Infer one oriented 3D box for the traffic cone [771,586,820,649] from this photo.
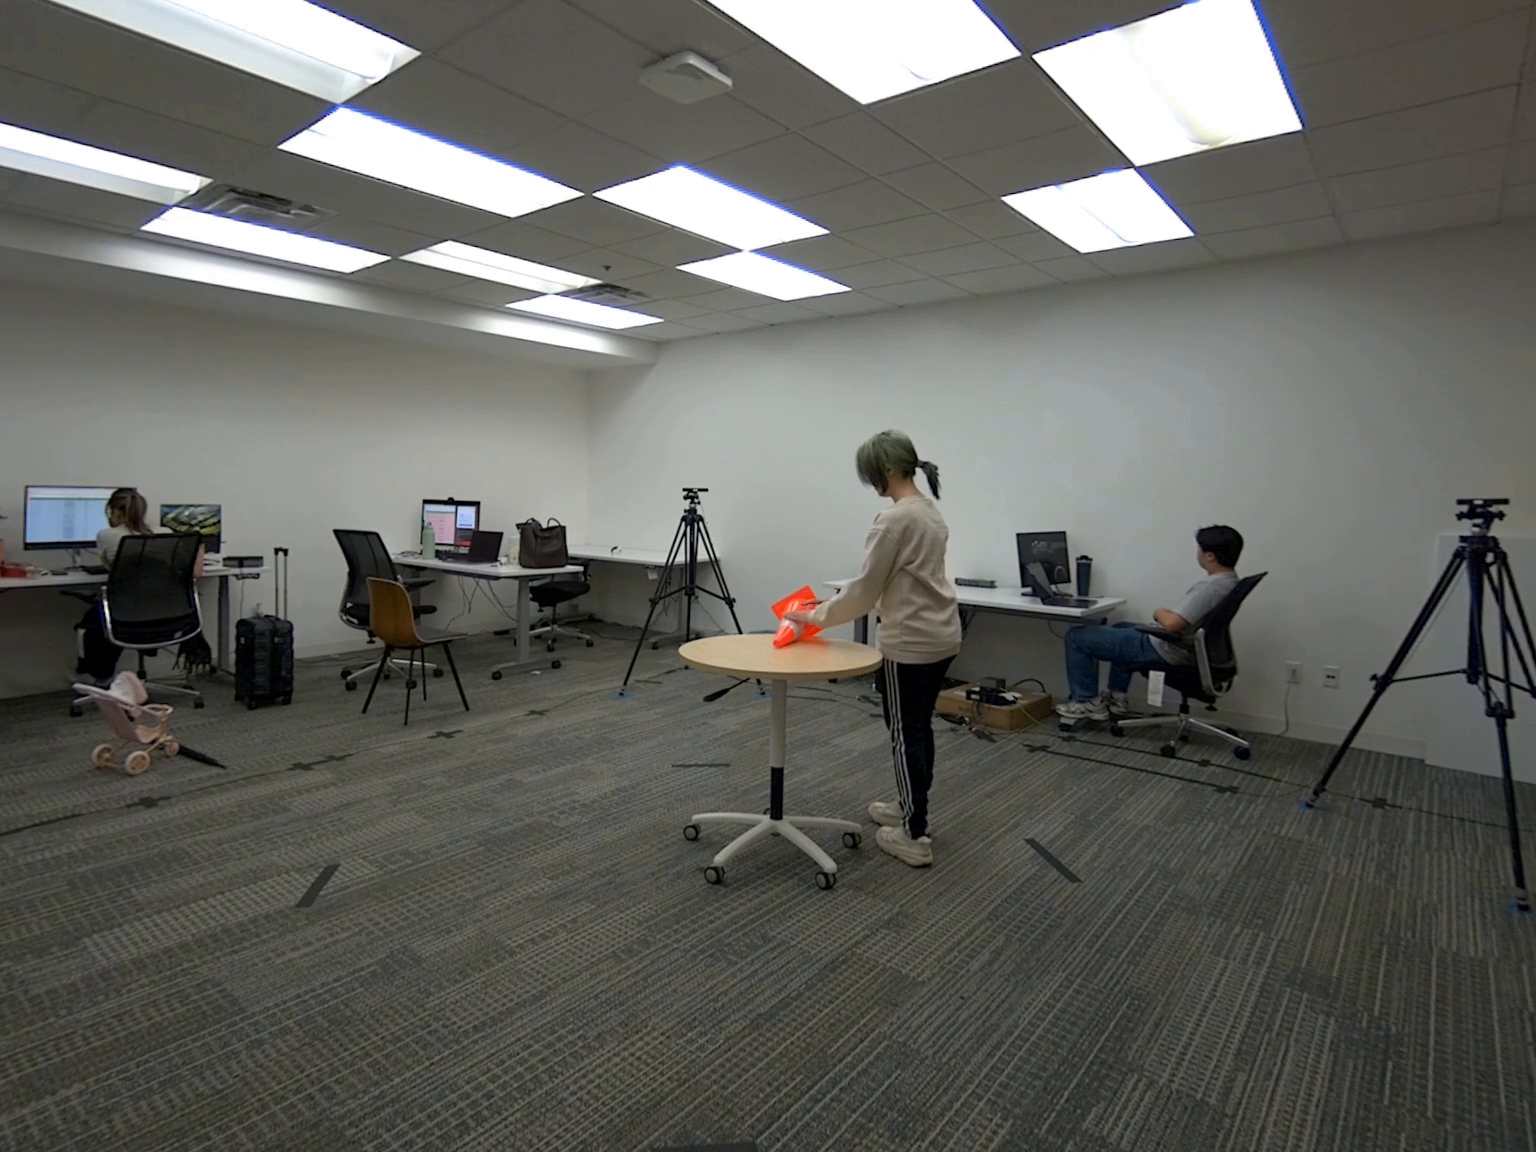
[{"bbox_3d":[0.075,0.211,3.439,0.206,0.204,0.380,-32,1,23],"label":"traffic cone"}]
